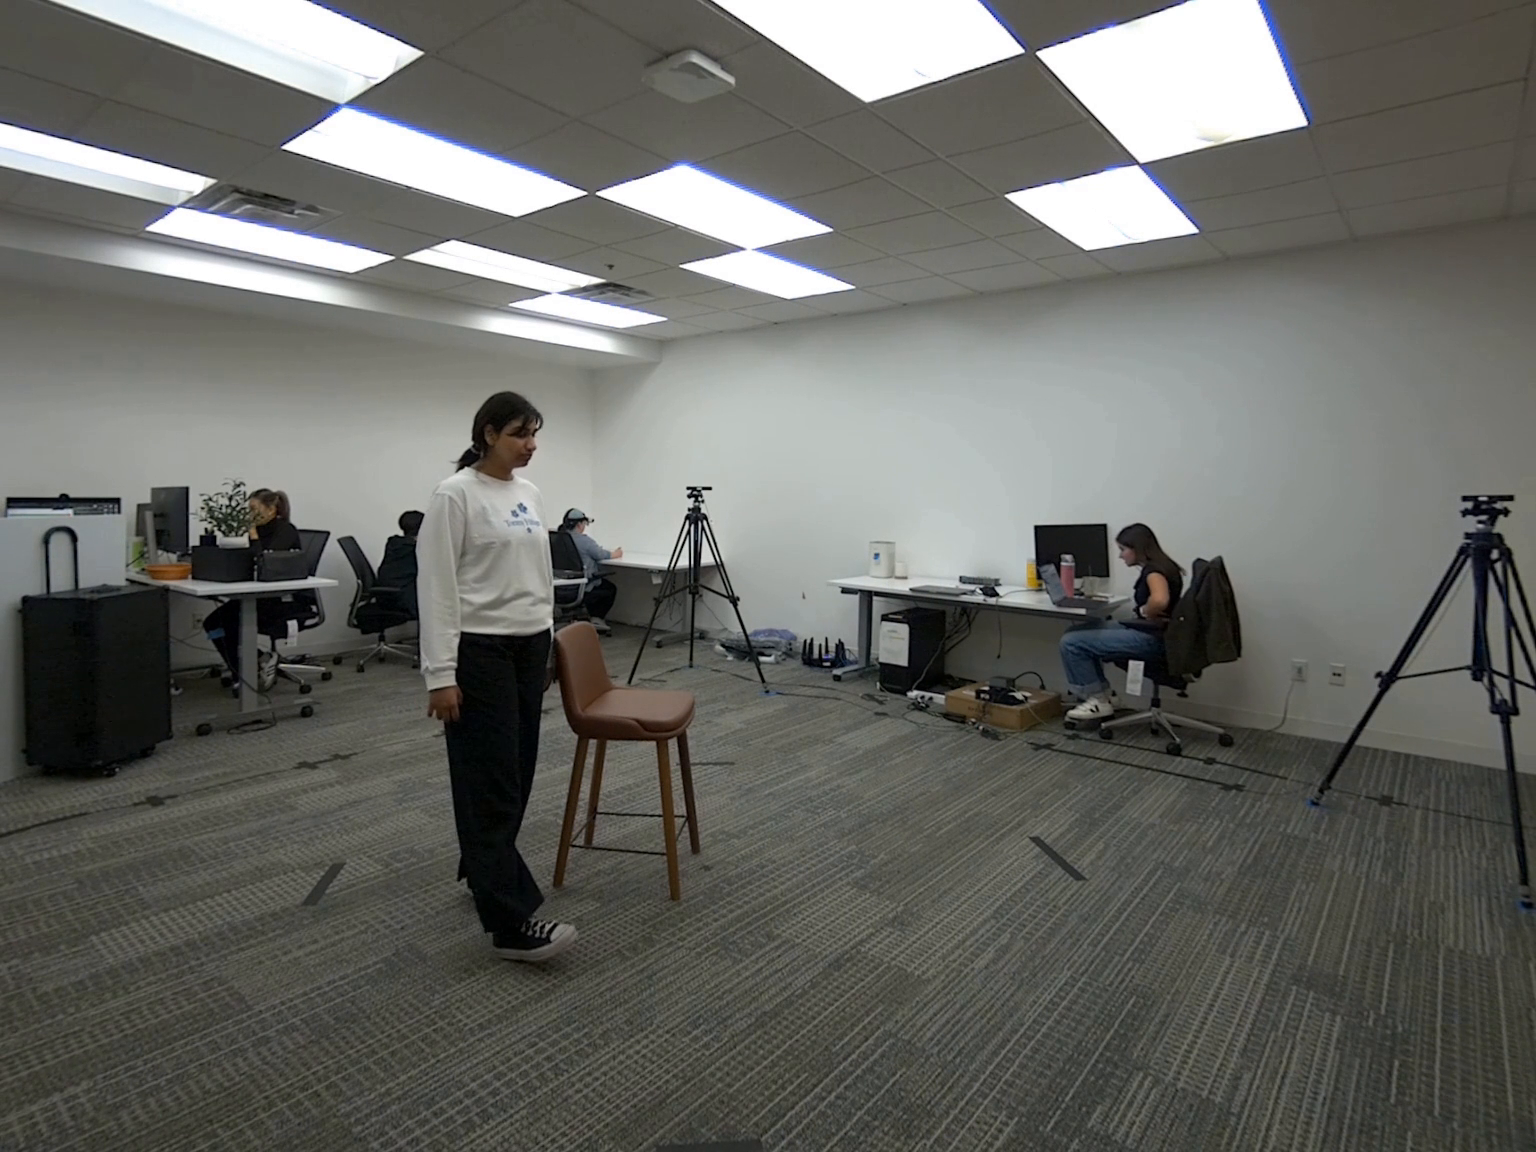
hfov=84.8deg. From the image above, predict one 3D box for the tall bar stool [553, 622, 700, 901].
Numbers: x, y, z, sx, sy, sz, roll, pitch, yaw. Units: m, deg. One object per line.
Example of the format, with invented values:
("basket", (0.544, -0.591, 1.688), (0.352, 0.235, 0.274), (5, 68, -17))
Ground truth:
("tall bar stool", (-0.505, 0.632, 3.068), (0.473, 0.888, 0.453), (0, 3, 9))
